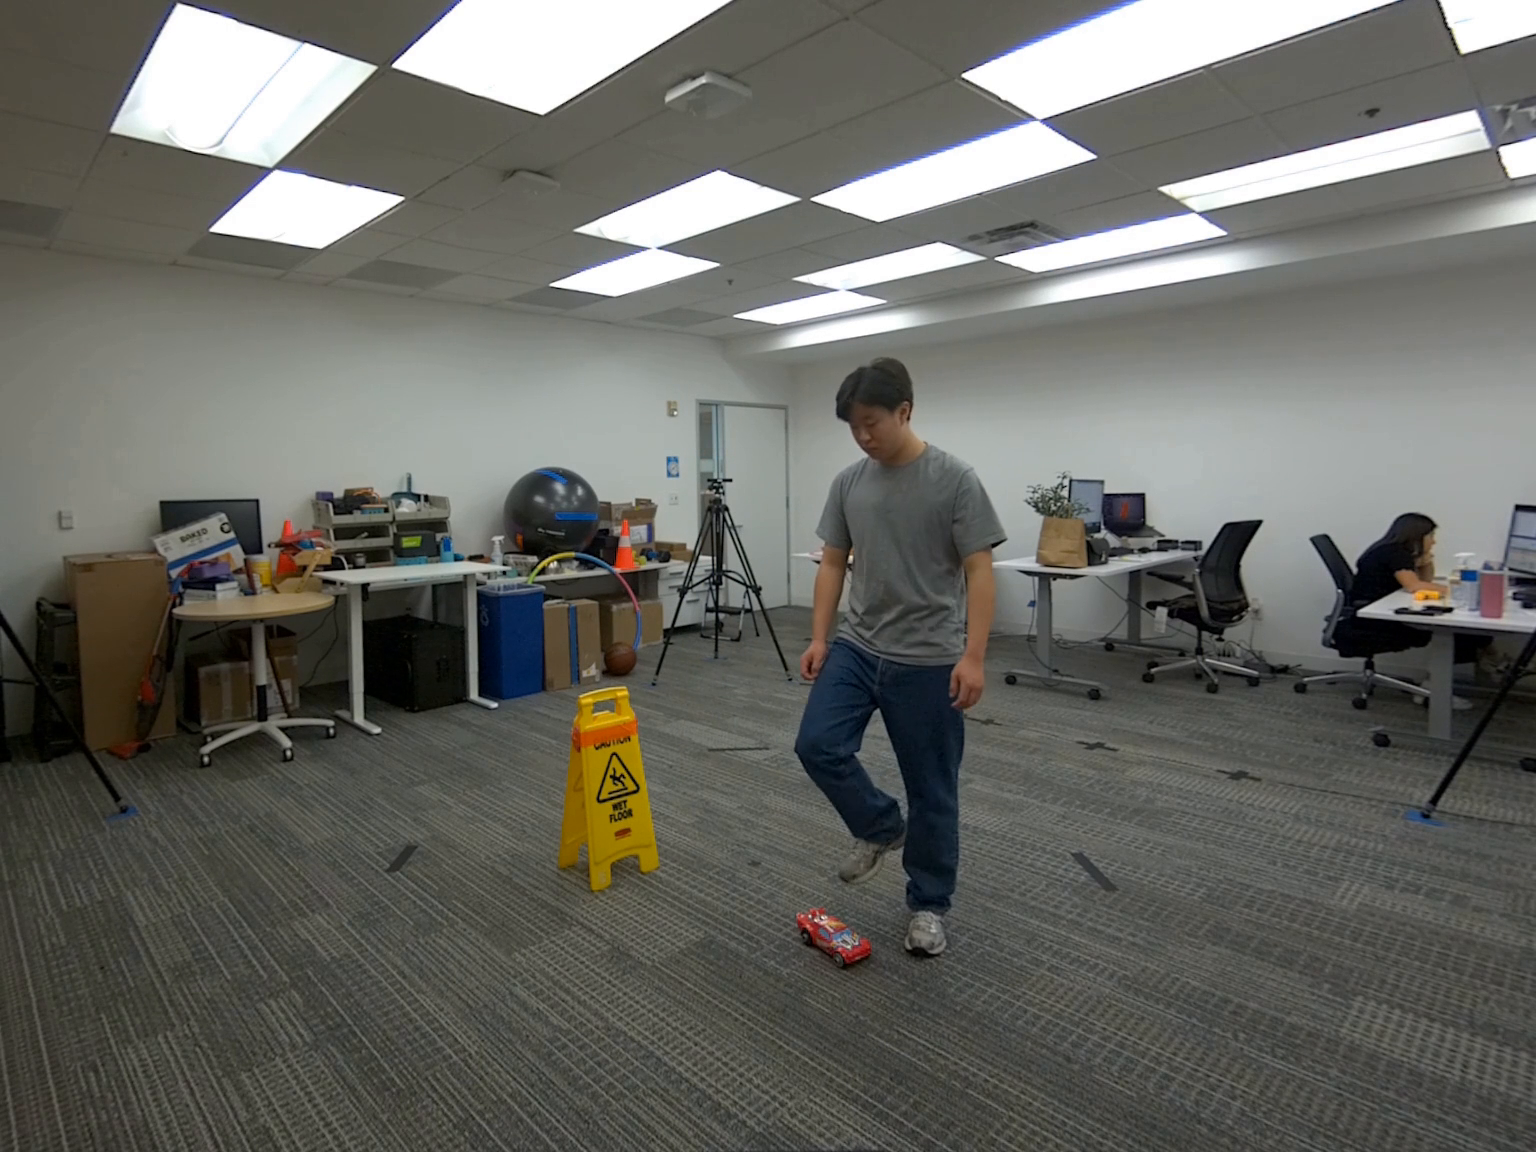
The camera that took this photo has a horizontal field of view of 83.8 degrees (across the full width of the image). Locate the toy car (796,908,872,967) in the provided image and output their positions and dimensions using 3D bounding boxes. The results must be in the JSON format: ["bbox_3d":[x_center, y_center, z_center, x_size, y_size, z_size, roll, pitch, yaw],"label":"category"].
[{"bbox_3d":[0.196,1.075,2.544,0.127,0.082,0.264,-6,18,-34],"label":"toy car"}]
